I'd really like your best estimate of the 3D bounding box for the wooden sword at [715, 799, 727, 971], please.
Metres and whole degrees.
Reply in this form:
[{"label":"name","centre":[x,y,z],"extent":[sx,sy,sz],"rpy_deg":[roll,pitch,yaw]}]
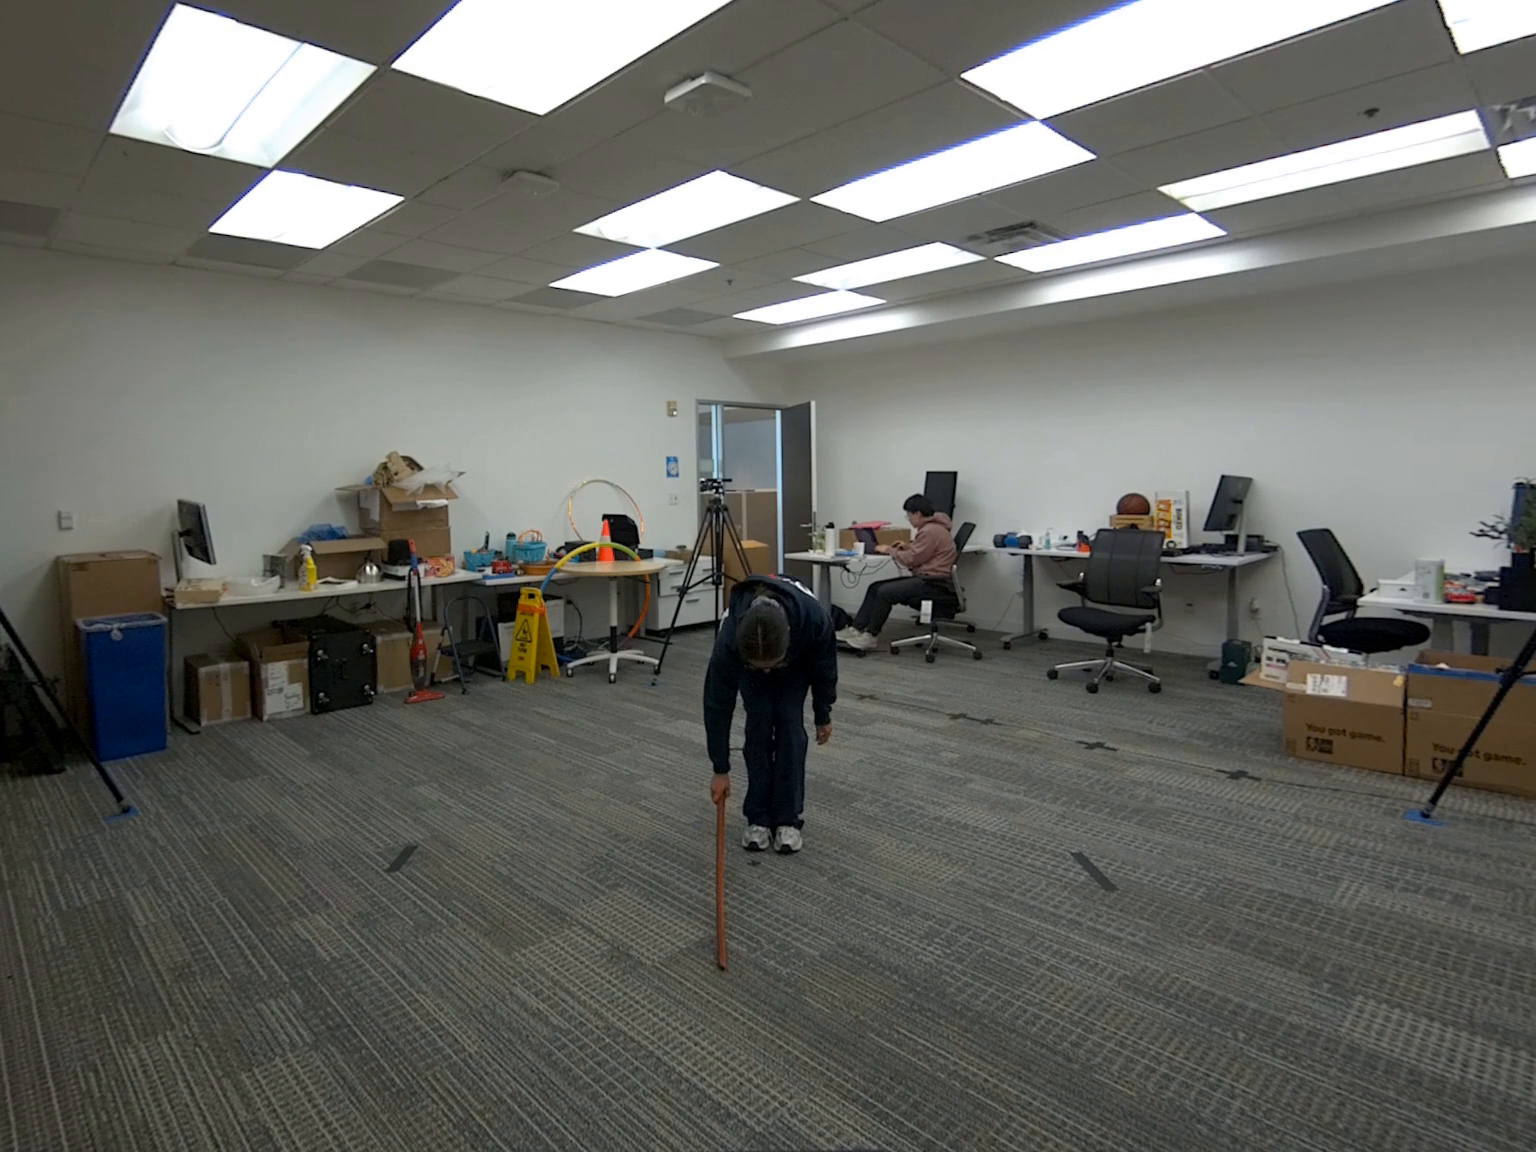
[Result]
[{"label":"wooden sword","centre":[-0.181,0.970,2.912],"extent":[0.024,0.050,1.043],"rpy_deg":[-44,16,7]}]
